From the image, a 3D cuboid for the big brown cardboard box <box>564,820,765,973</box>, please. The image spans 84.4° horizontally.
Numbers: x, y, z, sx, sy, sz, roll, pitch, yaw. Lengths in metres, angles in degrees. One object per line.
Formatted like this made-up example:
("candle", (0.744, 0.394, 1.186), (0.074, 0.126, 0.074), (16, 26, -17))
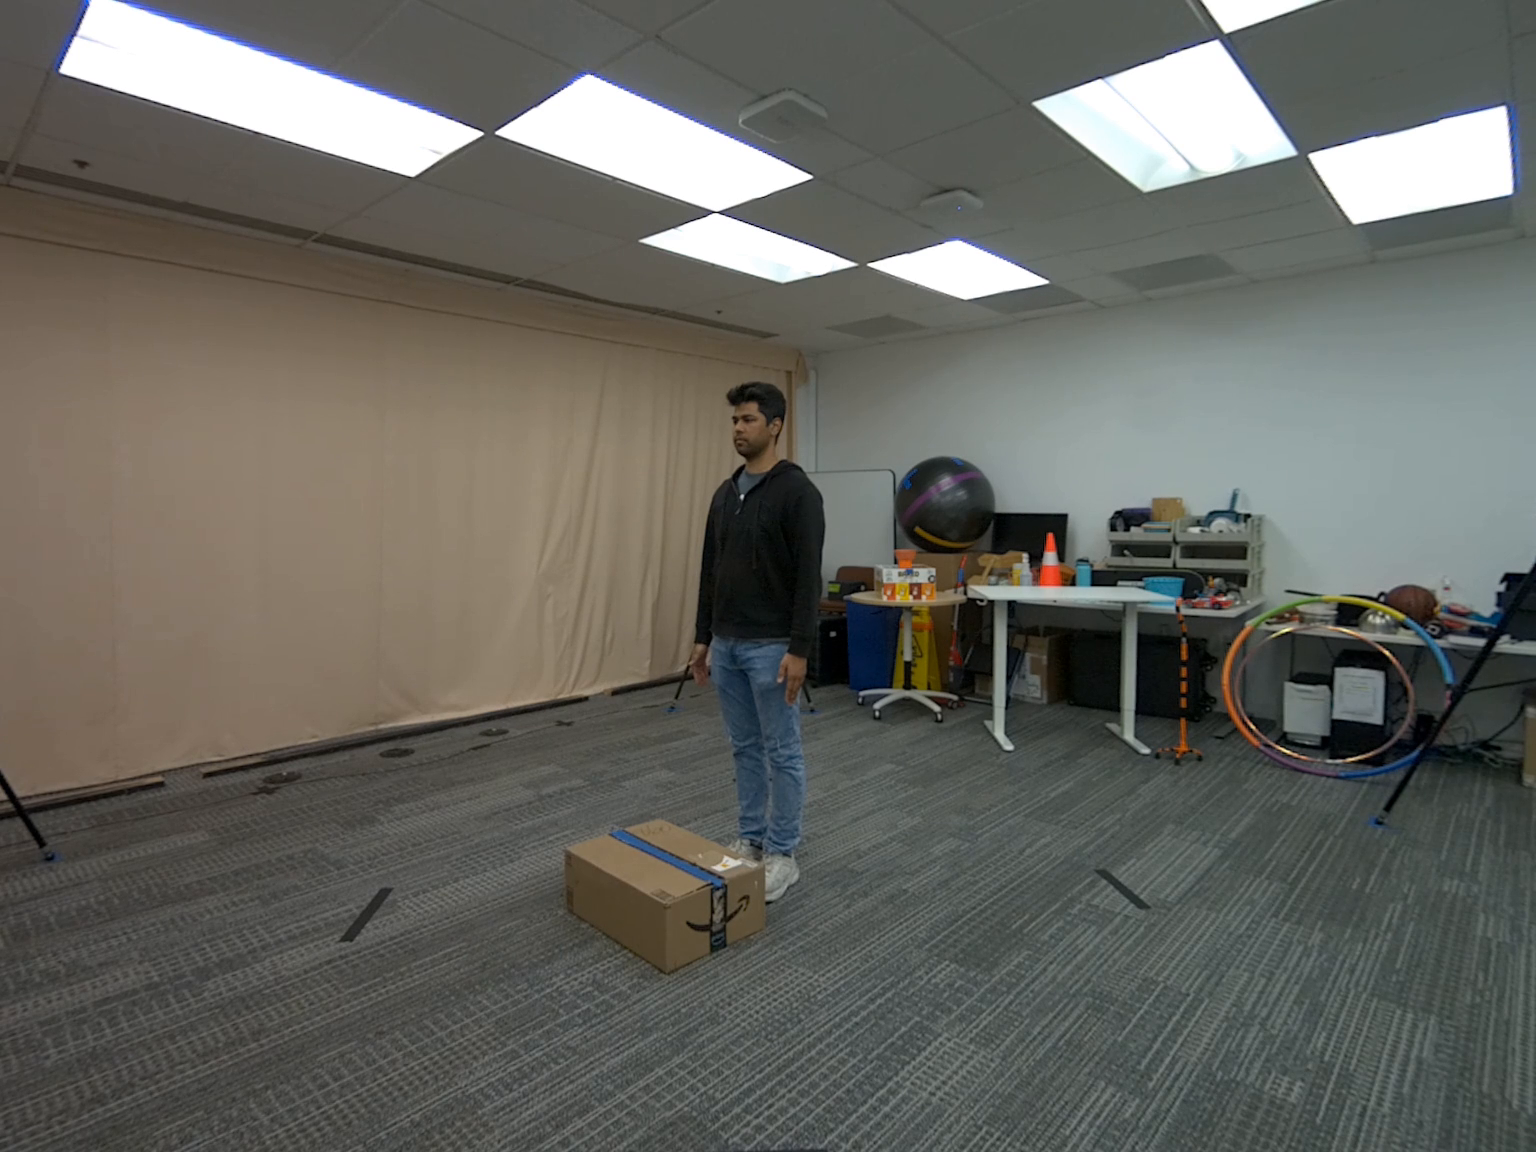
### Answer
("big brown cardboard box", (-0.354, 1.052, 2.838), (0.405, 0.233, 0.608), (-4, 5, -44))
